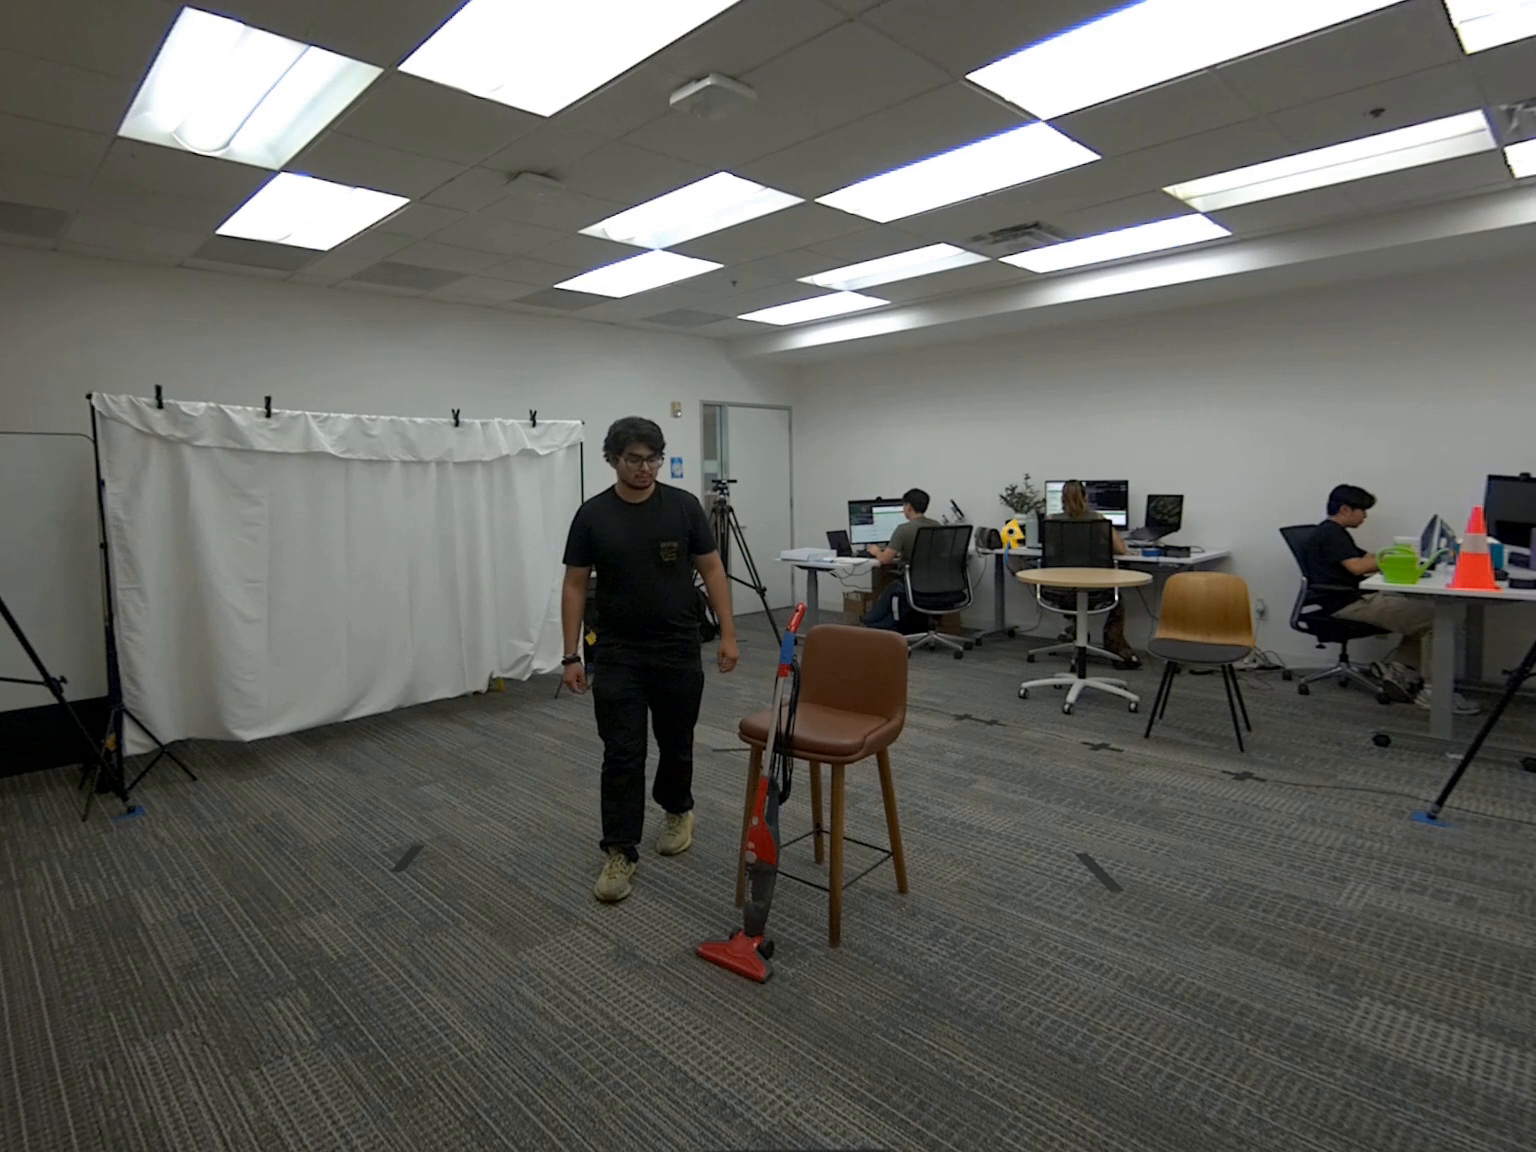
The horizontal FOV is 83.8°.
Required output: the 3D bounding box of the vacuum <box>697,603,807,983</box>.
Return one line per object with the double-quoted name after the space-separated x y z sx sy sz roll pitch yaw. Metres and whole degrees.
0.013 0.609 2.603 0.260 1.058 0.139 2 -14 34 "vacuum"
